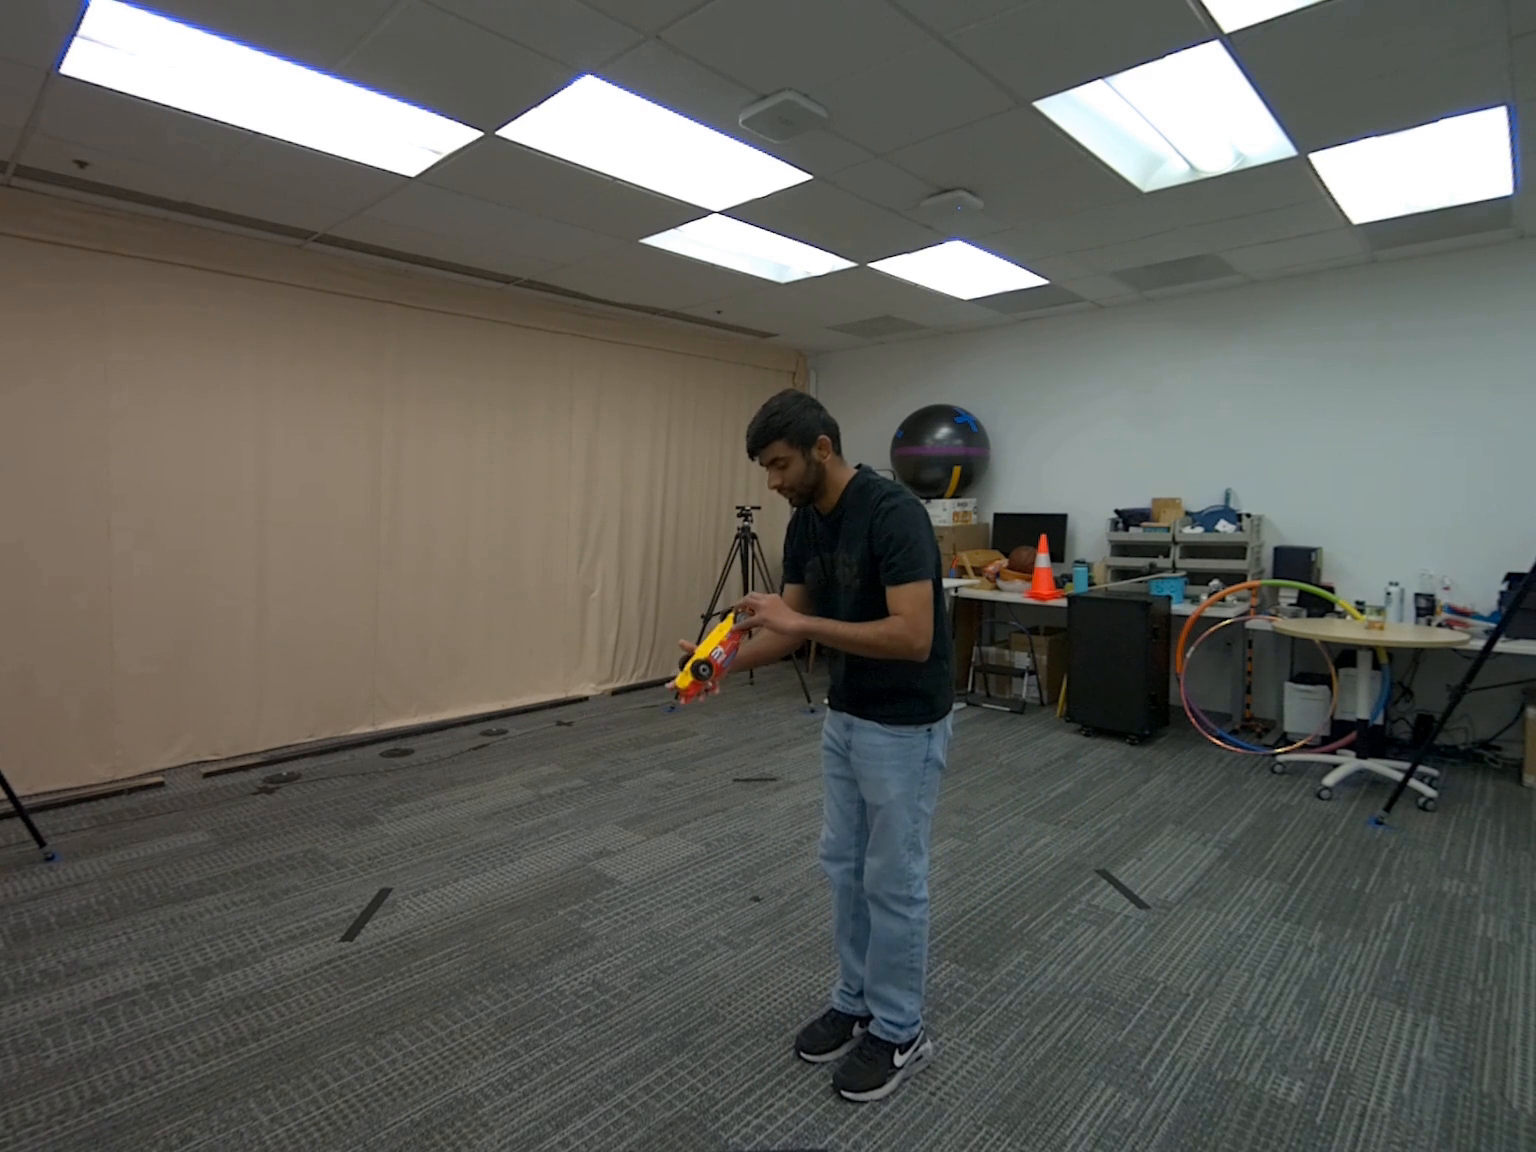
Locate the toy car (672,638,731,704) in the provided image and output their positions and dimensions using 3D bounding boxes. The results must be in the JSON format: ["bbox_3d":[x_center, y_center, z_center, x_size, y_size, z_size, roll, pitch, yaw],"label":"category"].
[{"bbox_3d":[-0.175,0.302,1.929,0.082,0.254,0.132,10,1,-11],"label":"toy car"}]
